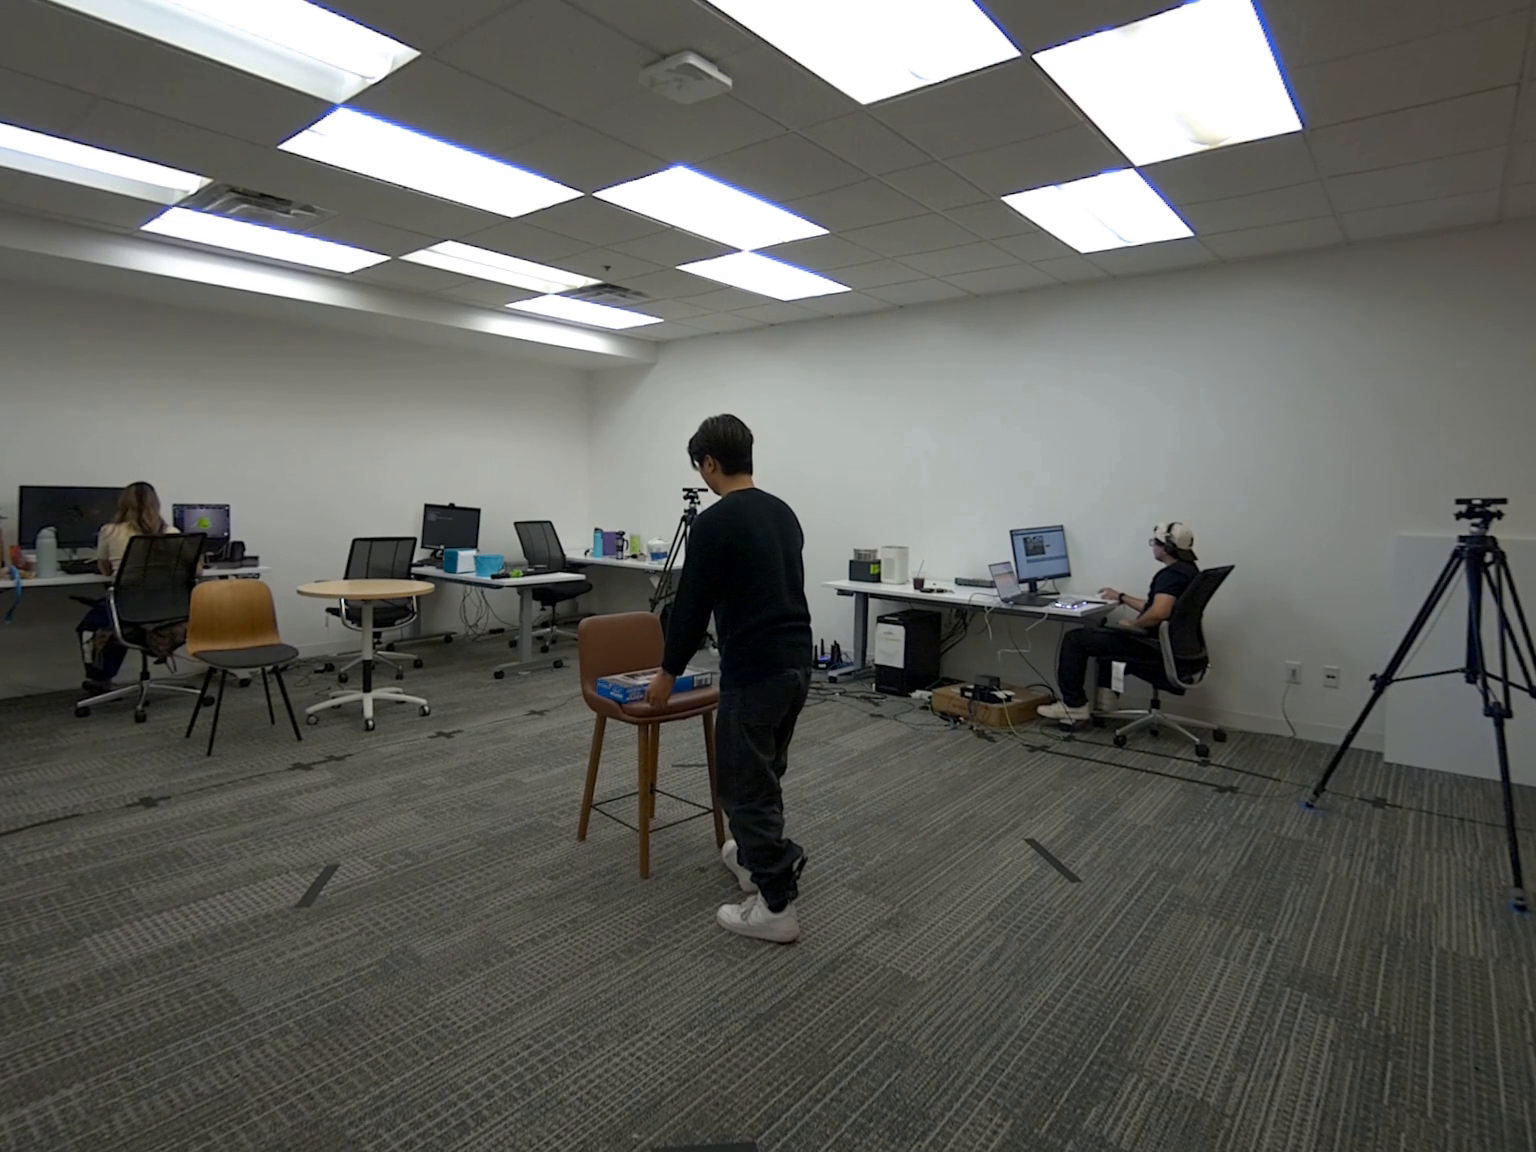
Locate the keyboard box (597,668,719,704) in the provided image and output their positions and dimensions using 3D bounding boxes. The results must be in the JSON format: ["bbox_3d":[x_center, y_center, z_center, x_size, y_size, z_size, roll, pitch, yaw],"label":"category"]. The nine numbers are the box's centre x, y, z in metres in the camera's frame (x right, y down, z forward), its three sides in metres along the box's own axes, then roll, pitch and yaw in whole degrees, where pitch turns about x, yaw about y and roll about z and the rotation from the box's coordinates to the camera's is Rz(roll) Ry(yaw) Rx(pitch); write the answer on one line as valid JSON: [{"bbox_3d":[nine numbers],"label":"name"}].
[{"bbox_3d":[-0.439,0.402,3.273,0.182,0.059,0.423,7,8,45],"label":"keyboard box"}]
